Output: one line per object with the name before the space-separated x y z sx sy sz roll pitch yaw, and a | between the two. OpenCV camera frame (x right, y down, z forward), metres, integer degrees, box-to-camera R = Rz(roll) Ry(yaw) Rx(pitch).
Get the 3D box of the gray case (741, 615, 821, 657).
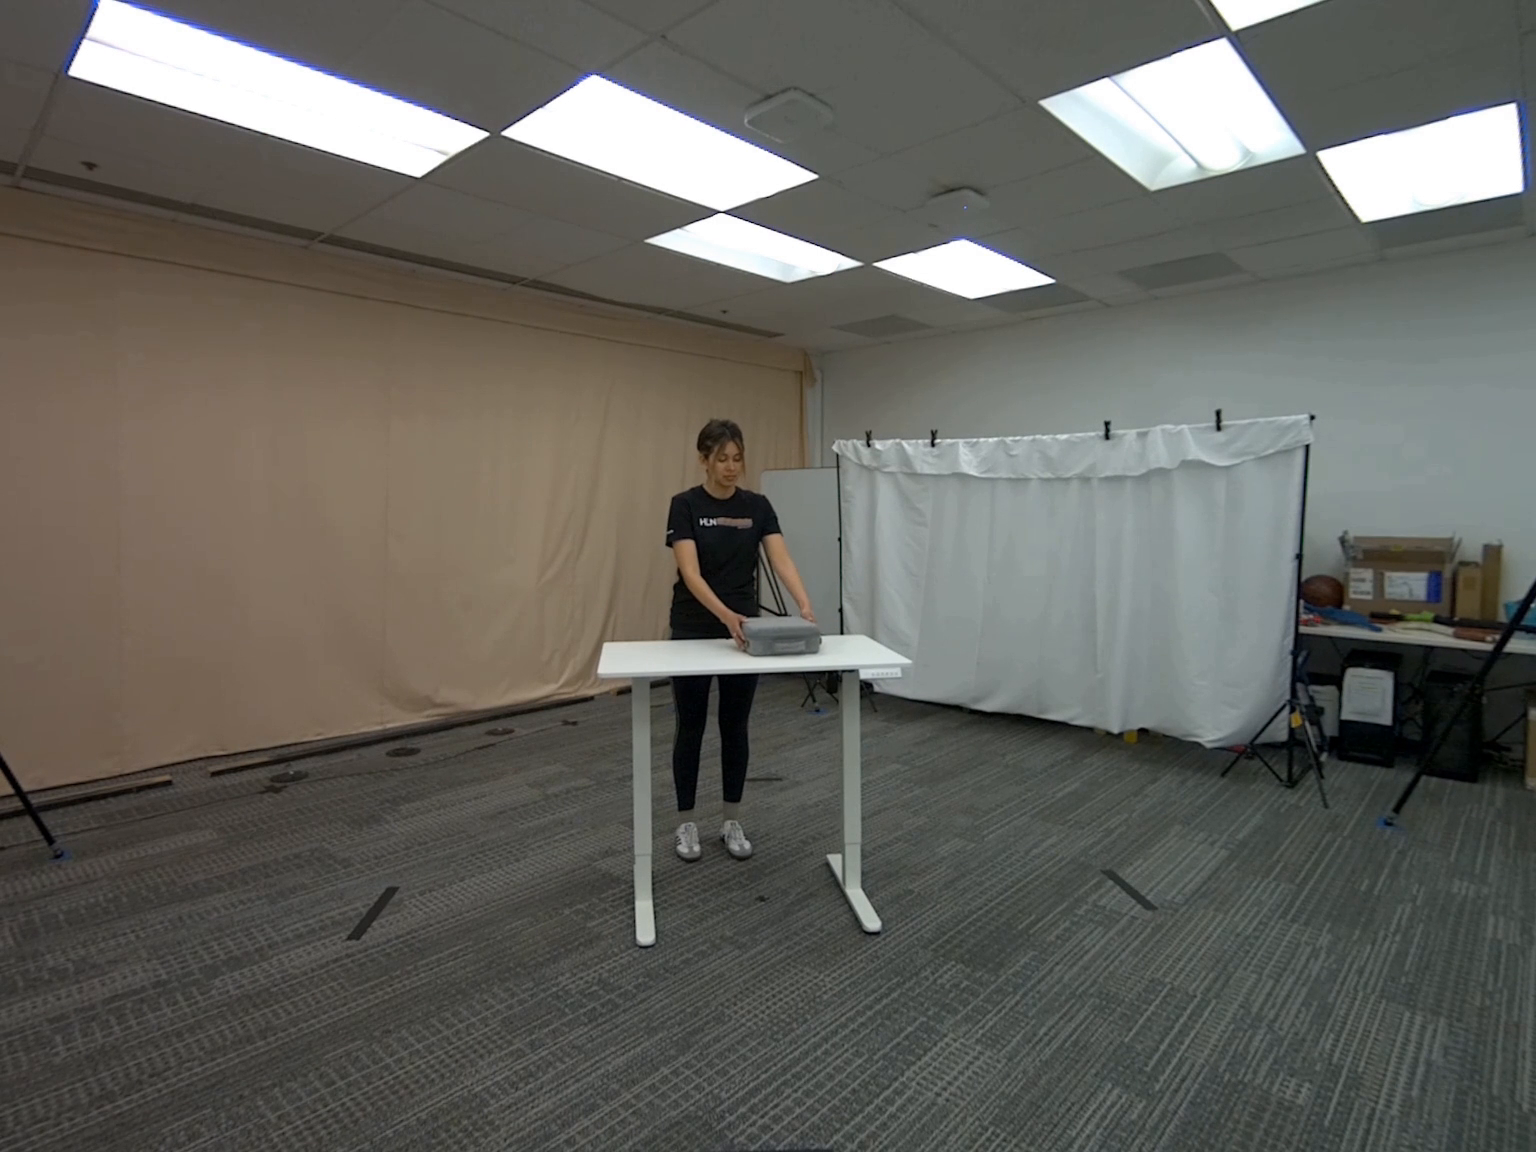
gray case | 0.039 0.211 2.957 0.254 0.104 0.264 0 5 -10
